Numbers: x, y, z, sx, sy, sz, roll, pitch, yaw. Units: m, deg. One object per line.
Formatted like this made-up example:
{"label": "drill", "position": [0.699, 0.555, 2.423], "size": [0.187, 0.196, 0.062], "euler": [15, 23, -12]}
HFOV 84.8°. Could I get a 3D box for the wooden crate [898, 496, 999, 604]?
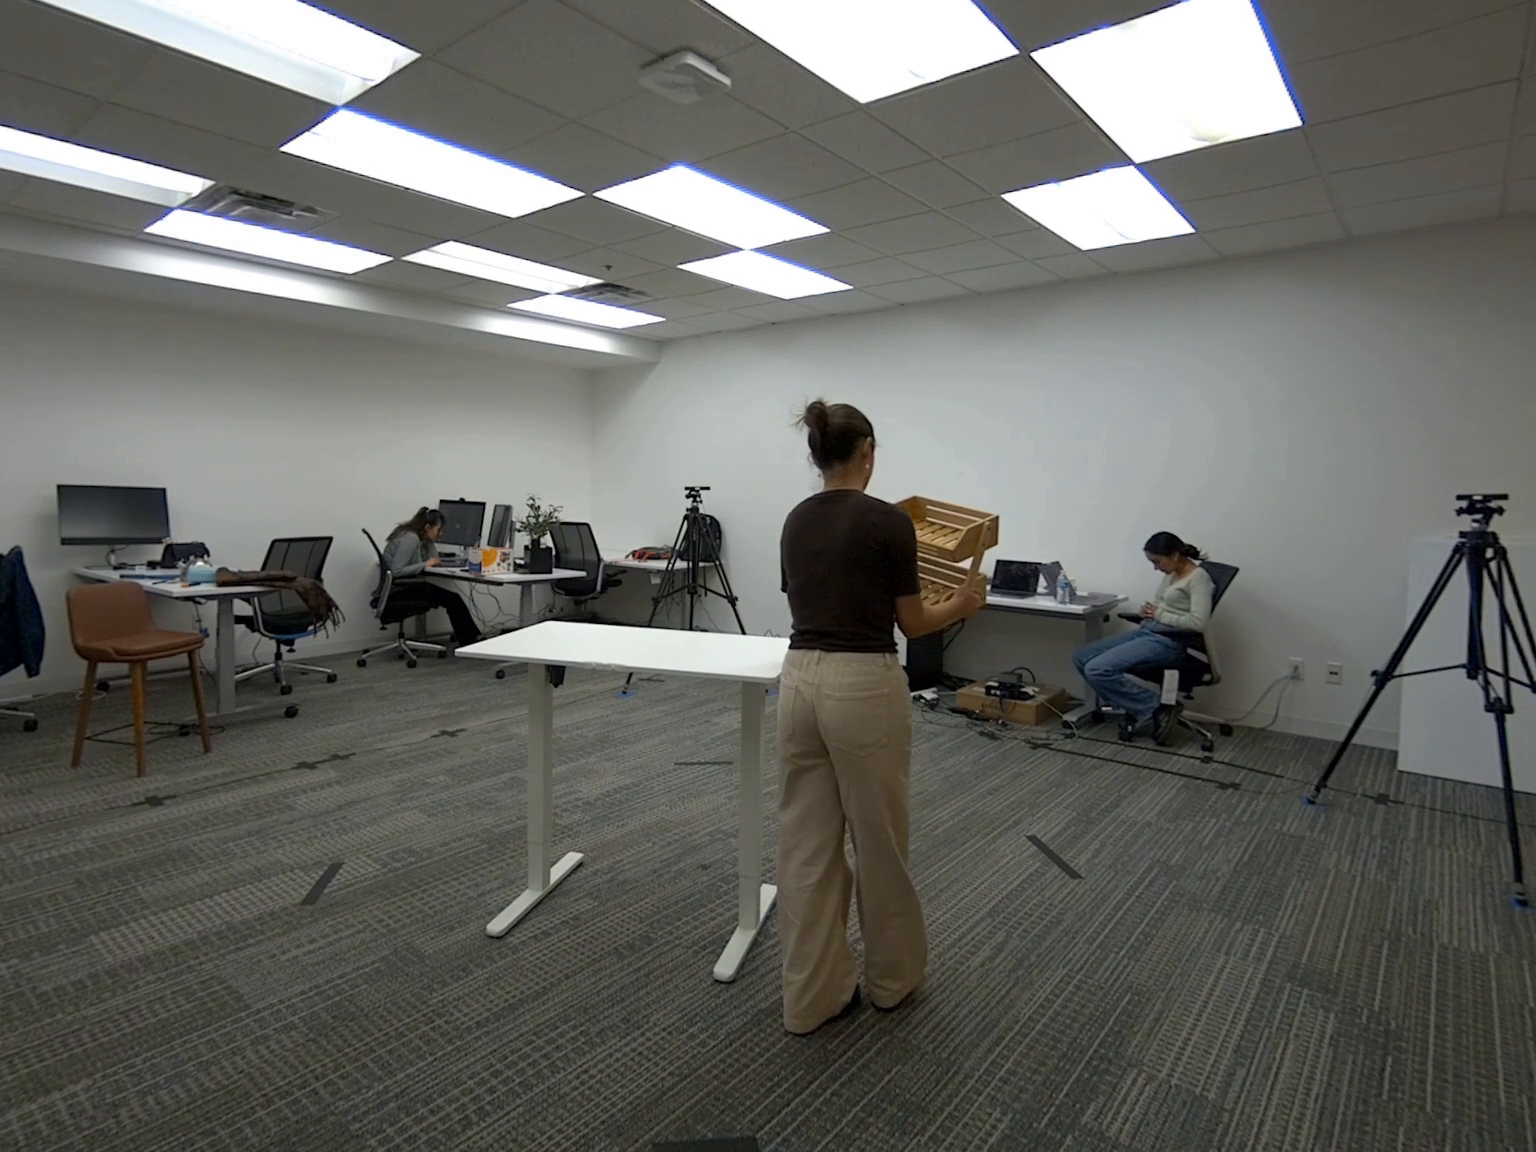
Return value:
{"label": "wooden crate", "position": [0.446, -0.054, 2.479], "size": [0.296, 0.267, 0.337], "euler": [-22, 28, -36]}
